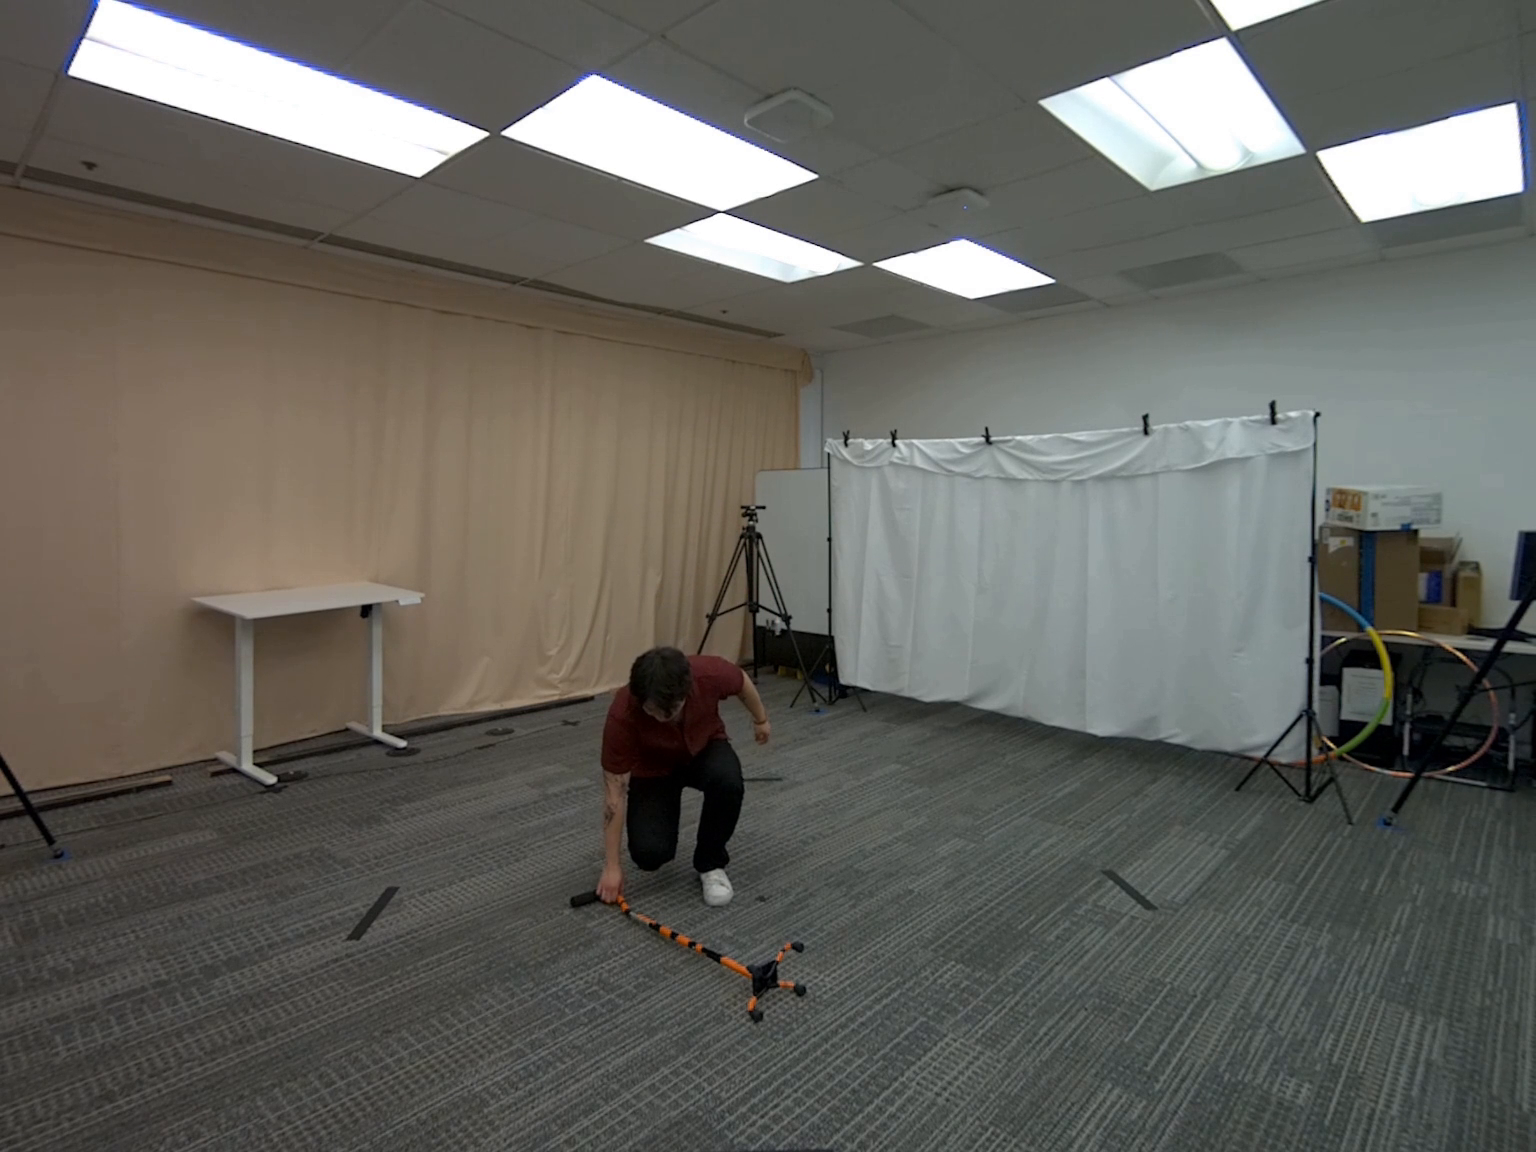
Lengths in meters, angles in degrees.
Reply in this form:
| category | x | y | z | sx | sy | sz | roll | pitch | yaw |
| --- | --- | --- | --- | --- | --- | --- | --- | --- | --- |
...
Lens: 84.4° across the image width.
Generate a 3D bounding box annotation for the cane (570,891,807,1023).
| category | x | y | z | sx | sy | sz | roll | pitch | yaw |
| --- | --- | --- | --- | --- | --- | --- | --- | --- | --- |
| cane | -0.291 | 1.107 | 2.657 | 0.200 | 0.151 | 0.937 | -3 | 2 | -45 |
